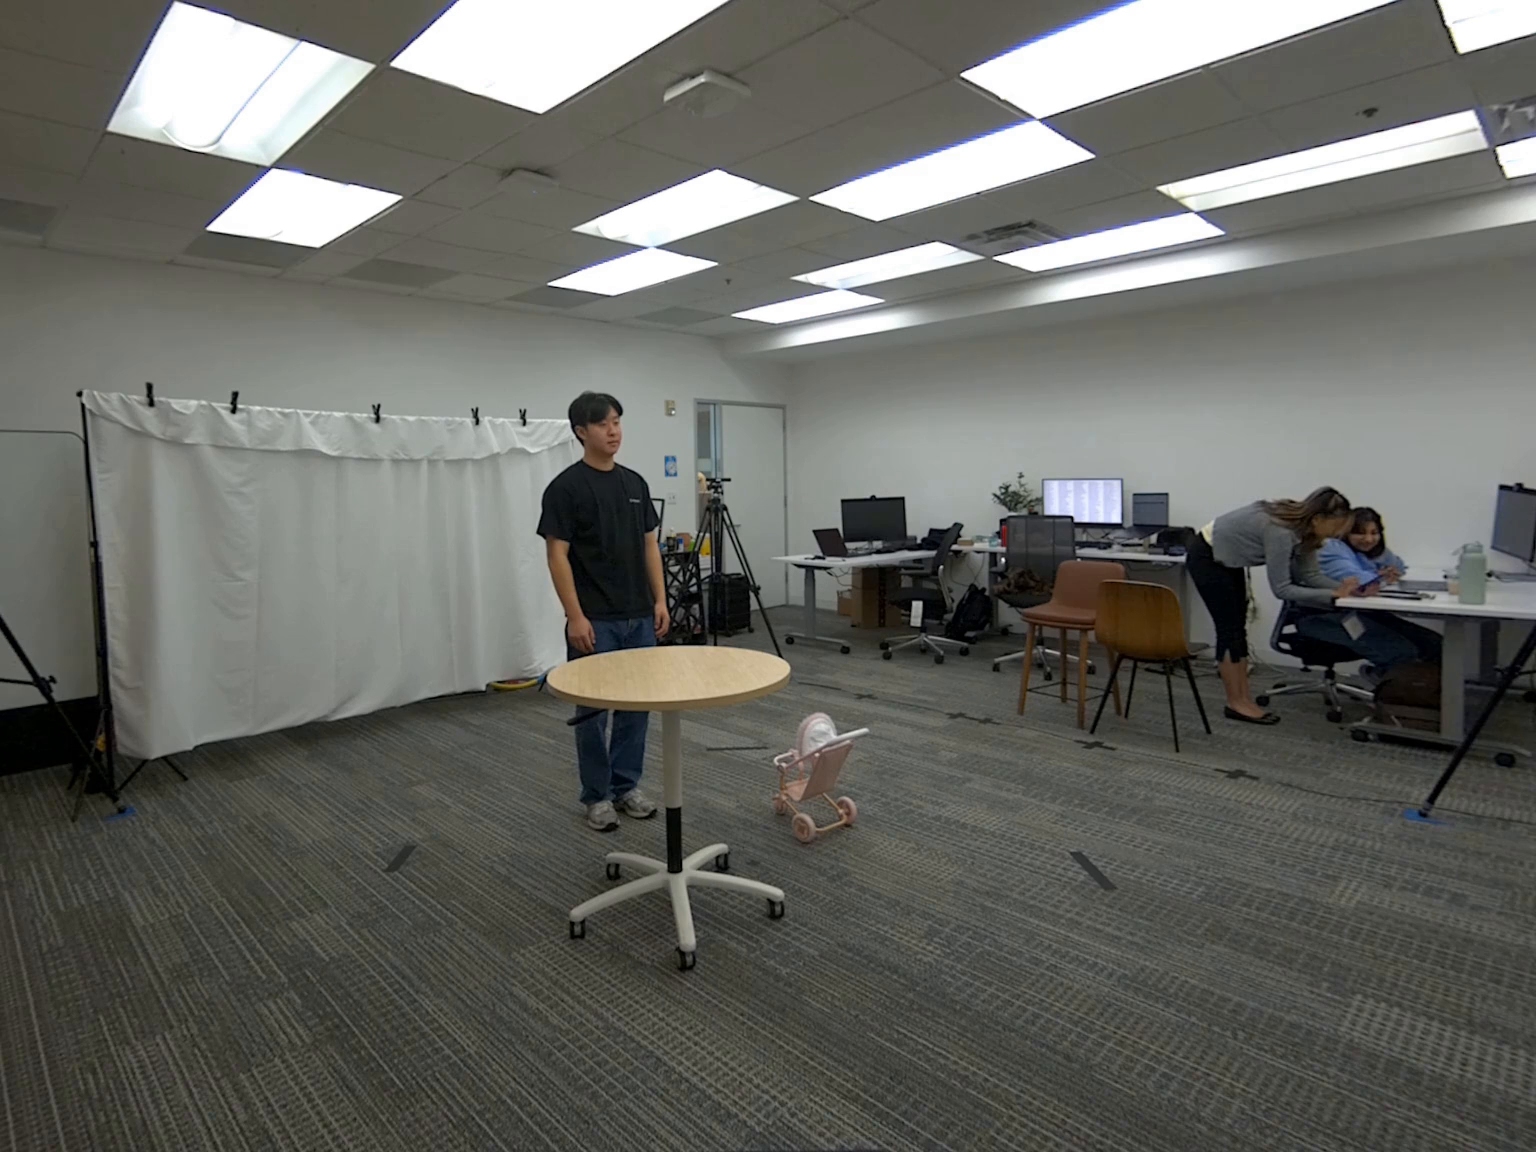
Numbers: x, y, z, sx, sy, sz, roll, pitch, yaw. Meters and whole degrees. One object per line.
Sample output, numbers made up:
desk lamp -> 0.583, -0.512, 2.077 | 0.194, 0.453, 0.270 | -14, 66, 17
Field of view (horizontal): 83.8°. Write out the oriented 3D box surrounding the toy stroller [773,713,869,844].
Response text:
toy stroller -> 0.187, 0.779, 3.395 | 0.274, 0.528, 0.354 | -5, 21, -38
